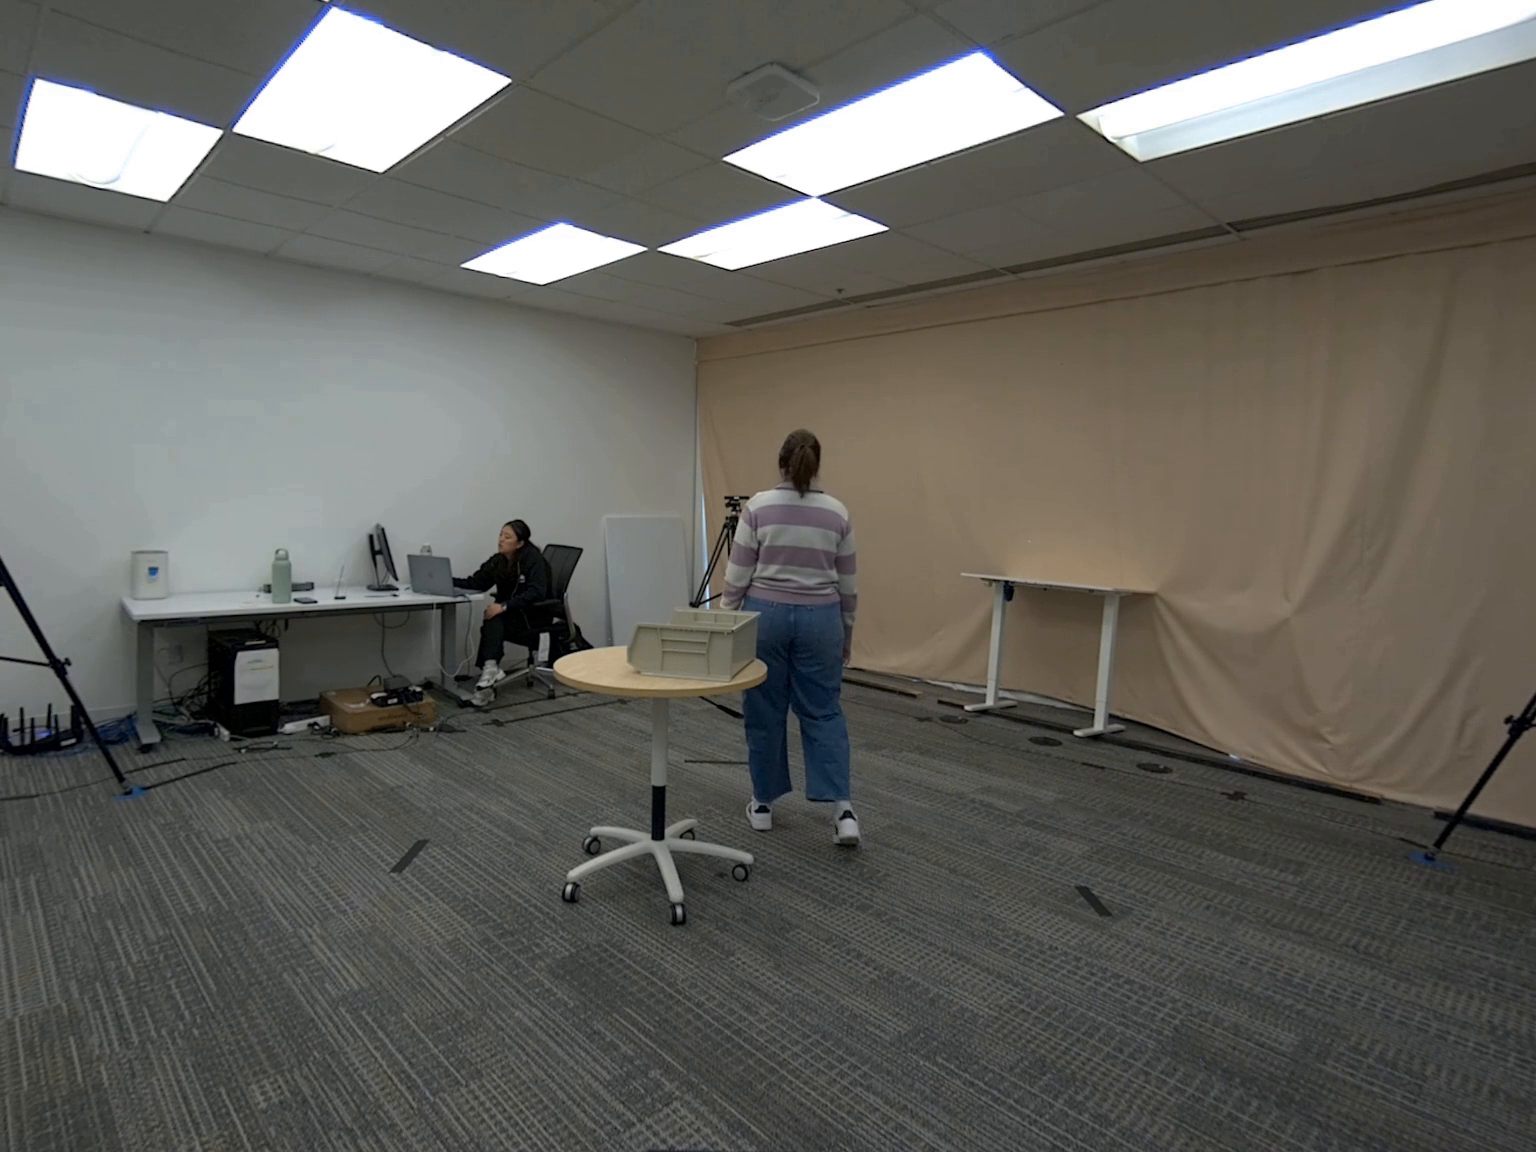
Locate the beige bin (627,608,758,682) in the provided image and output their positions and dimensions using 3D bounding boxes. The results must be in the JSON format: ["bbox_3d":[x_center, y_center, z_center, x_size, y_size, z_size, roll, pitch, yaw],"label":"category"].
[{"bbox_3d":[-0.263,0.236,3.014,0.381,0.188,0.419,4,6,12],"label":"beige bin"}]
